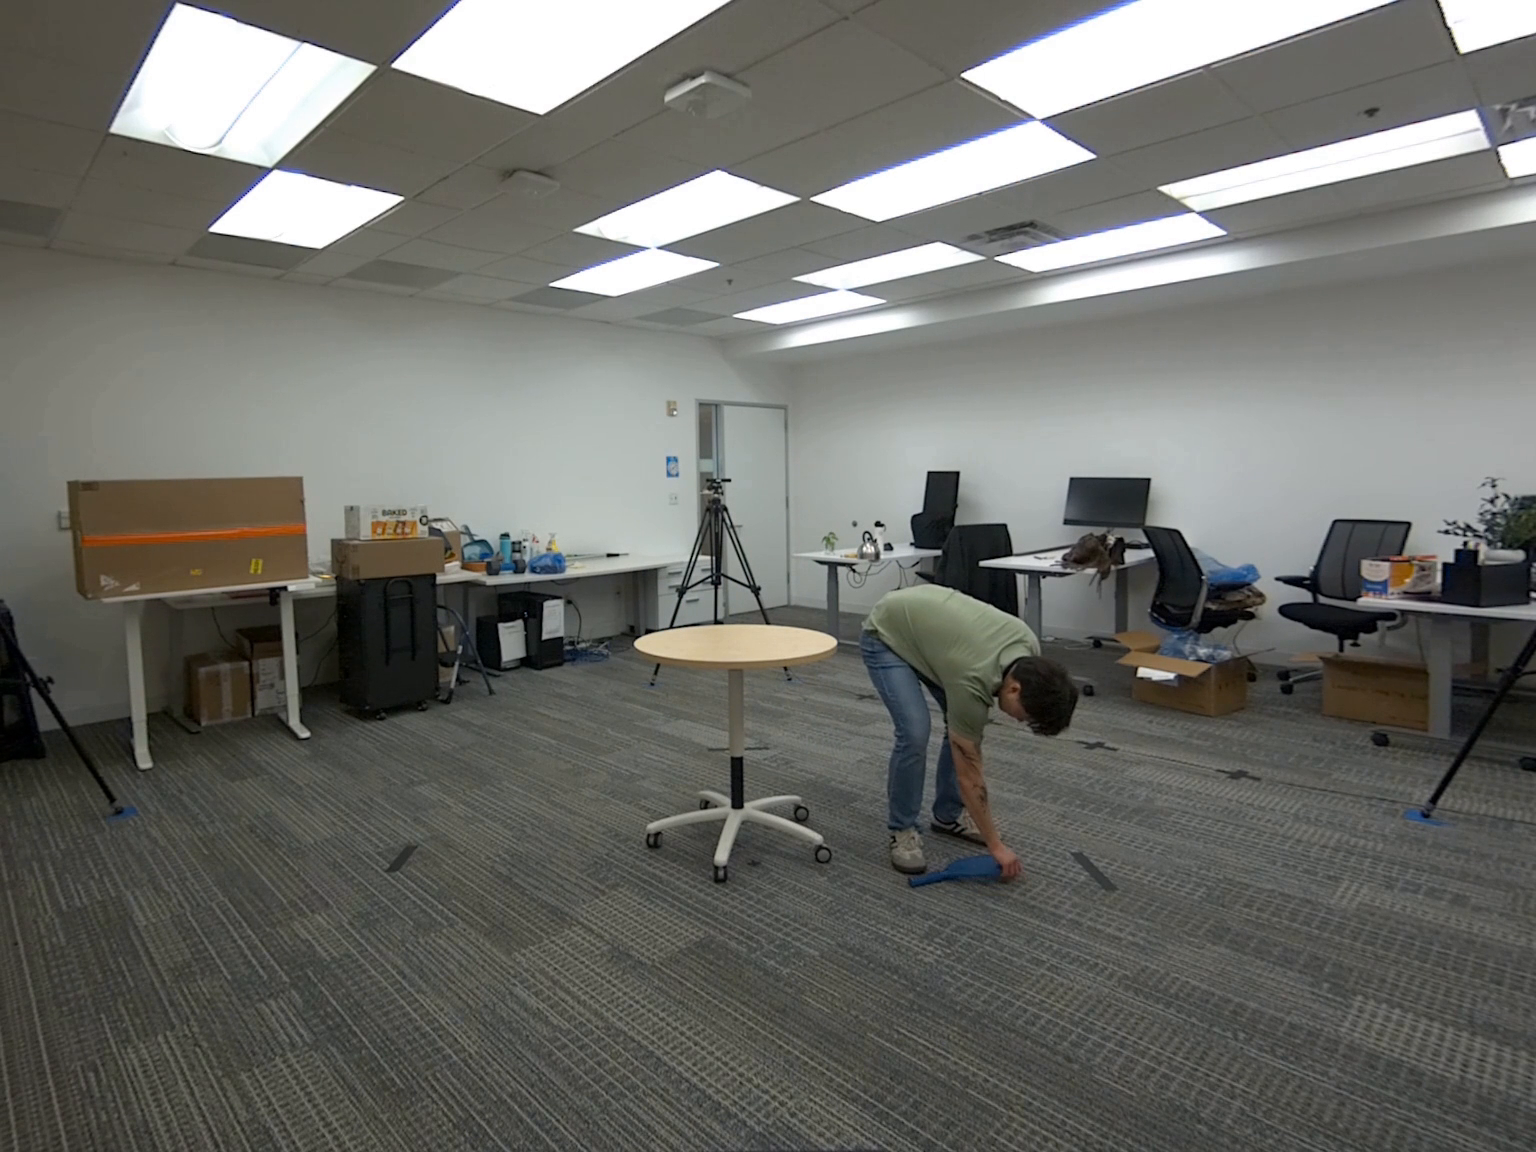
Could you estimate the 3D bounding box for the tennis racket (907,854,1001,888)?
[{"bbox_3d":[0.683,1.022,2.980,0.425,0.032,0.217,-3,-2,-21],"label":"tennis racket"}]
